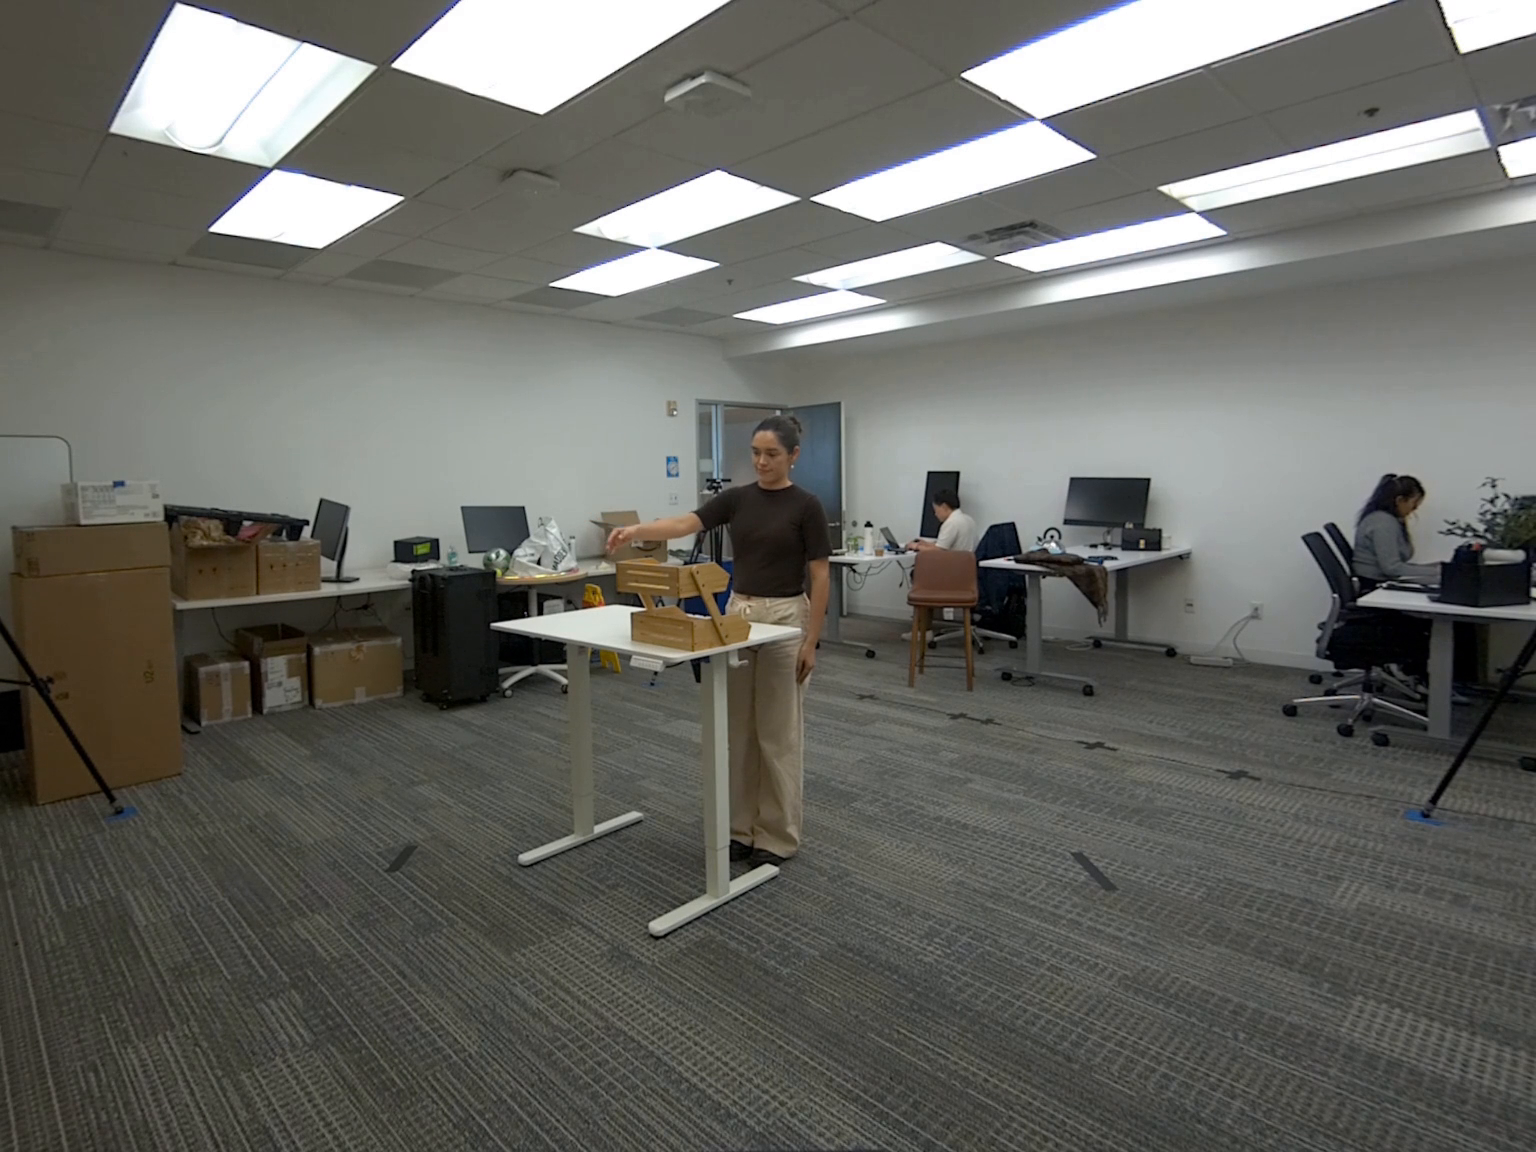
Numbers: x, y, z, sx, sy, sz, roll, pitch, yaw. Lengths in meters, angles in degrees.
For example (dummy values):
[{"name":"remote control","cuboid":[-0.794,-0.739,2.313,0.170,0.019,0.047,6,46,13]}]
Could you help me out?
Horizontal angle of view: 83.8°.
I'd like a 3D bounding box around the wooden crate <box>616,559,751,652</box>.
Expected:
[{"name":"wooden crate","cuboid":[-0.265,0.075,2.710,0.334,0.272,0.294,3,8,43]}]
